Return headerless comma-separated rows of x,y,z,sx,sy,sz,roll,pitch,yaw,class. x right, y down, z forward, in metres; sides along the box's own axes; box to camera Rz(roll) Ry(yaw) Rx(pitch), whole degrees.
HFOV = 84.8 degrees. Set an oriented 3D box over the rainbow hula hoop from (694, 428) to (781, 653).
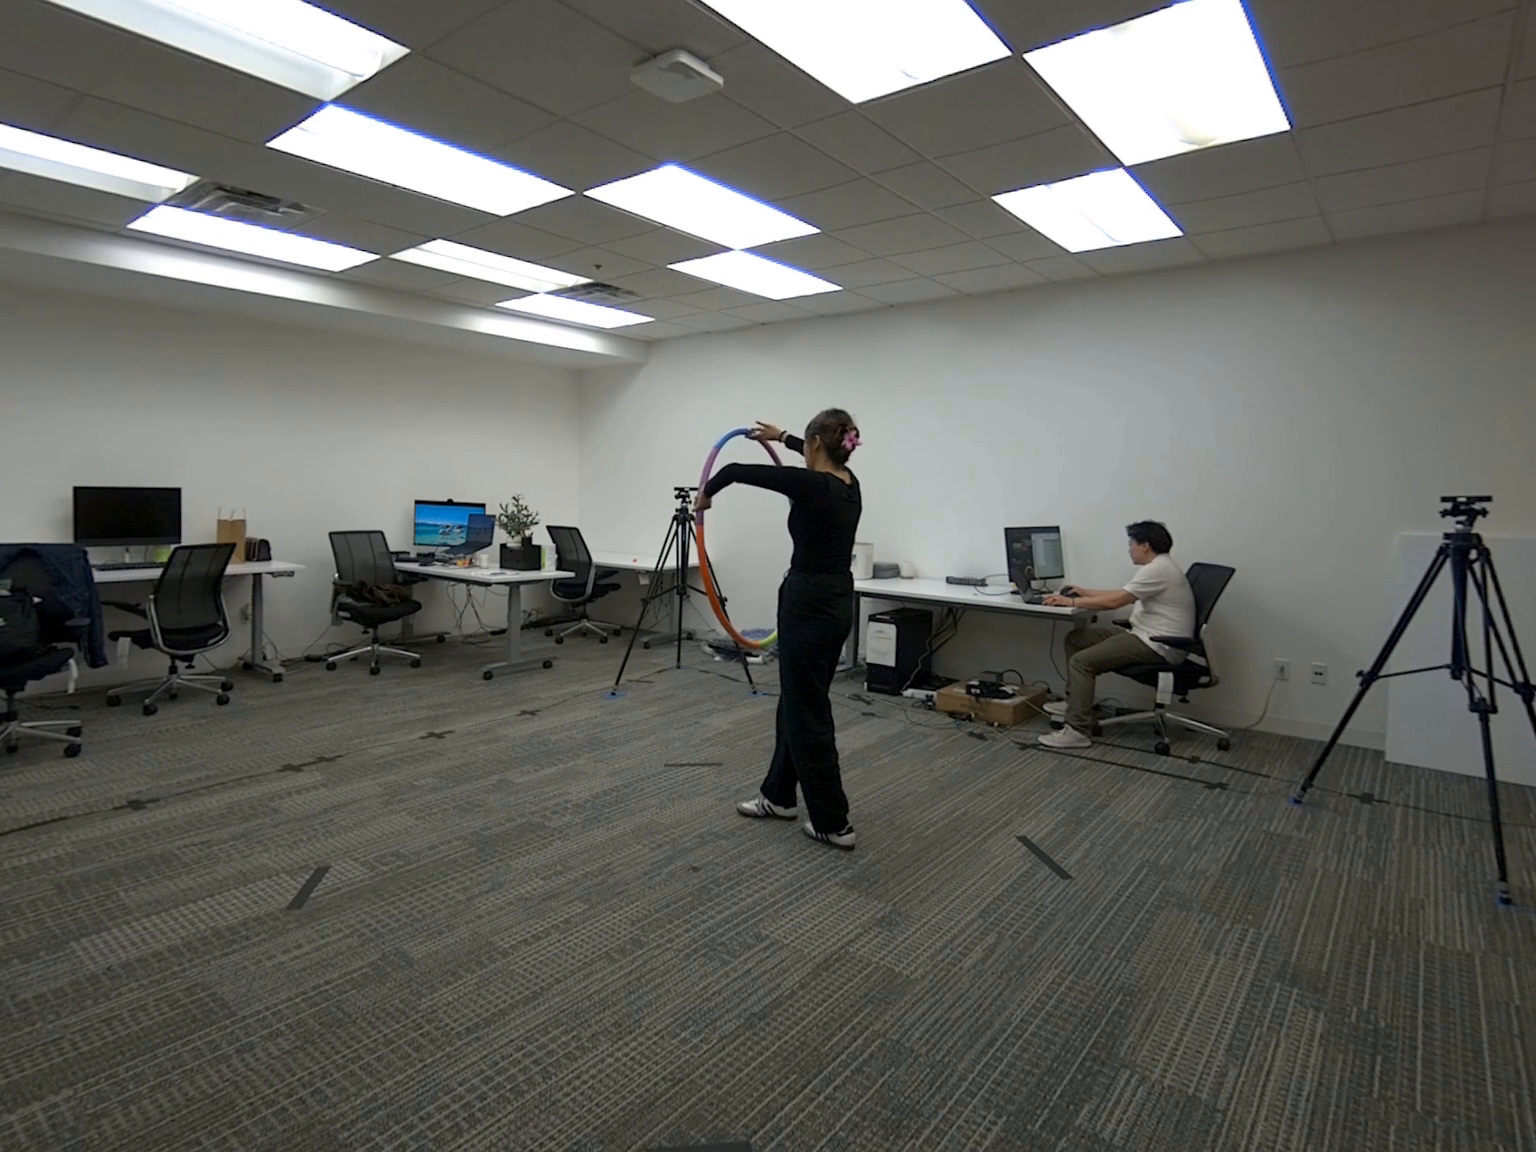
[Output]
-0.074,-0.174,3.821,0.053,0.986,0.960,-5,0,29,rainbow hula hoop
